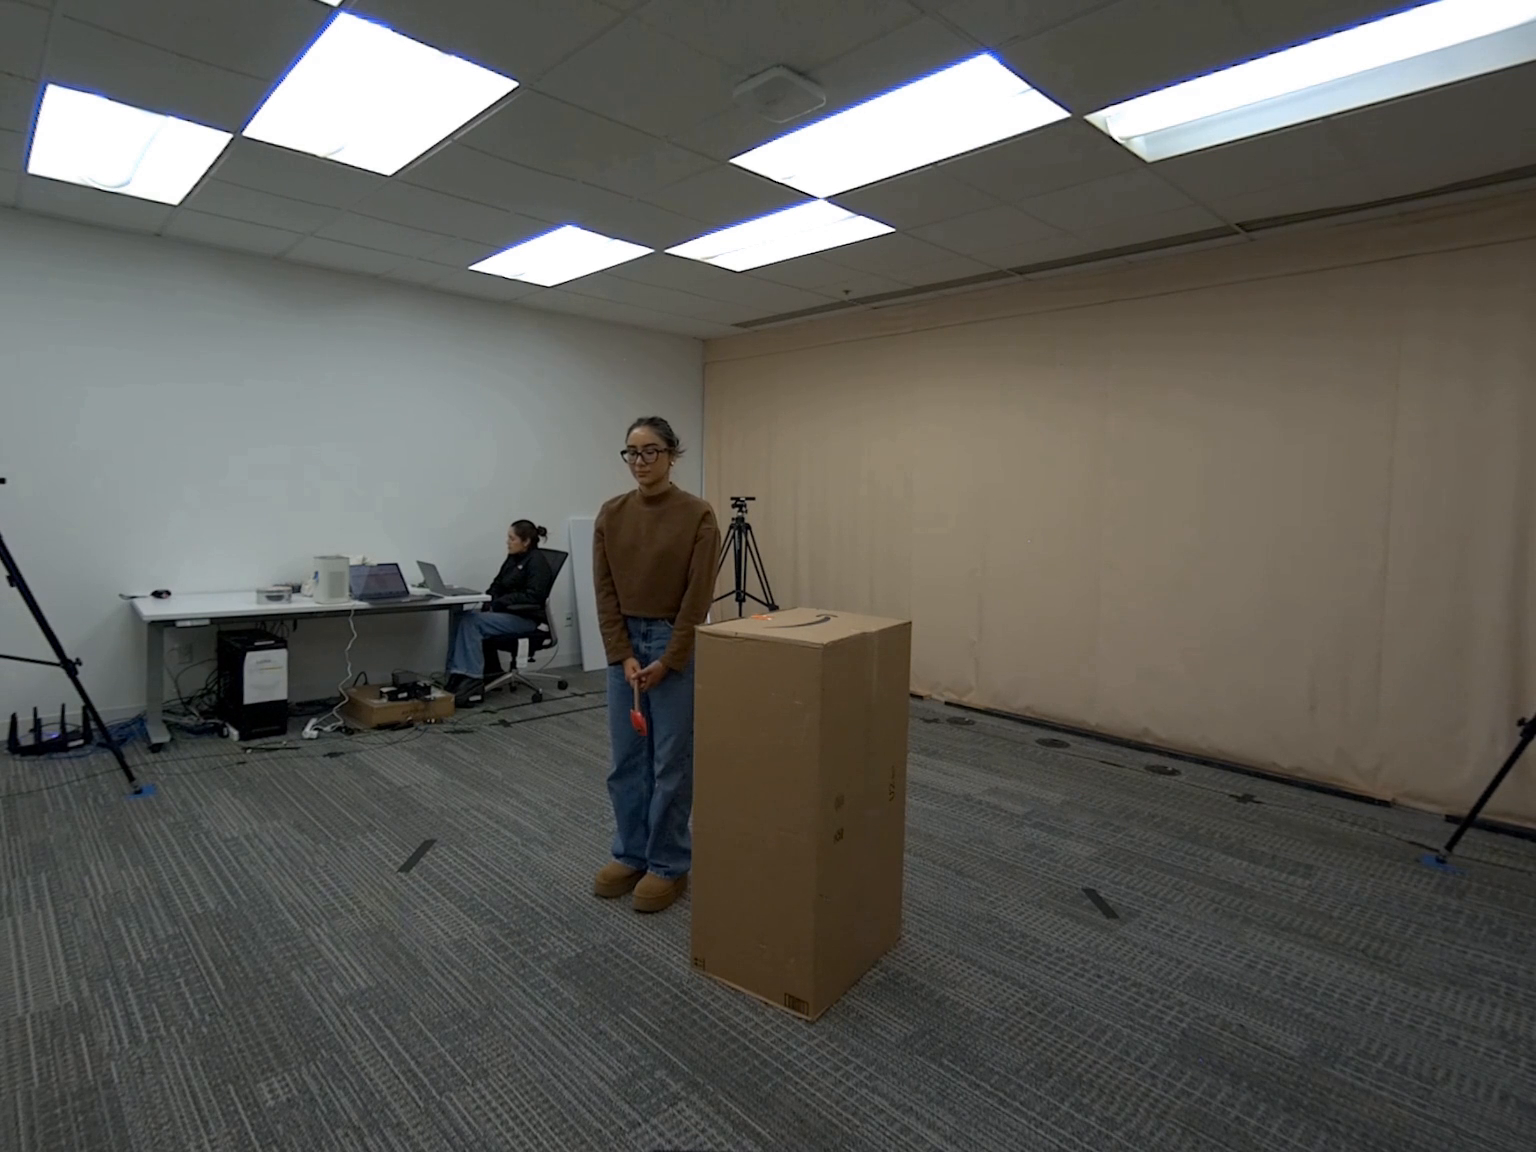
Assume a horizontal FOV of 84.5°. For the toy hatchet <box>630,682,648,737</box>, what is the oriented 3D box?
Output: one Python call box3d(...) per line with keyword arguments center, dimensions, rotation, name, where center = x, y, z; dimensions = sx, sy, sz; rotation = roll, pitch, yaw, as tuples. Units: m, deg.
box3d(center=(-0.405, 0.416, 2.733), dimensions=(0.030, 0.129, 0.273), rotation=(-16, 21, 9), name="toy hatchet")
